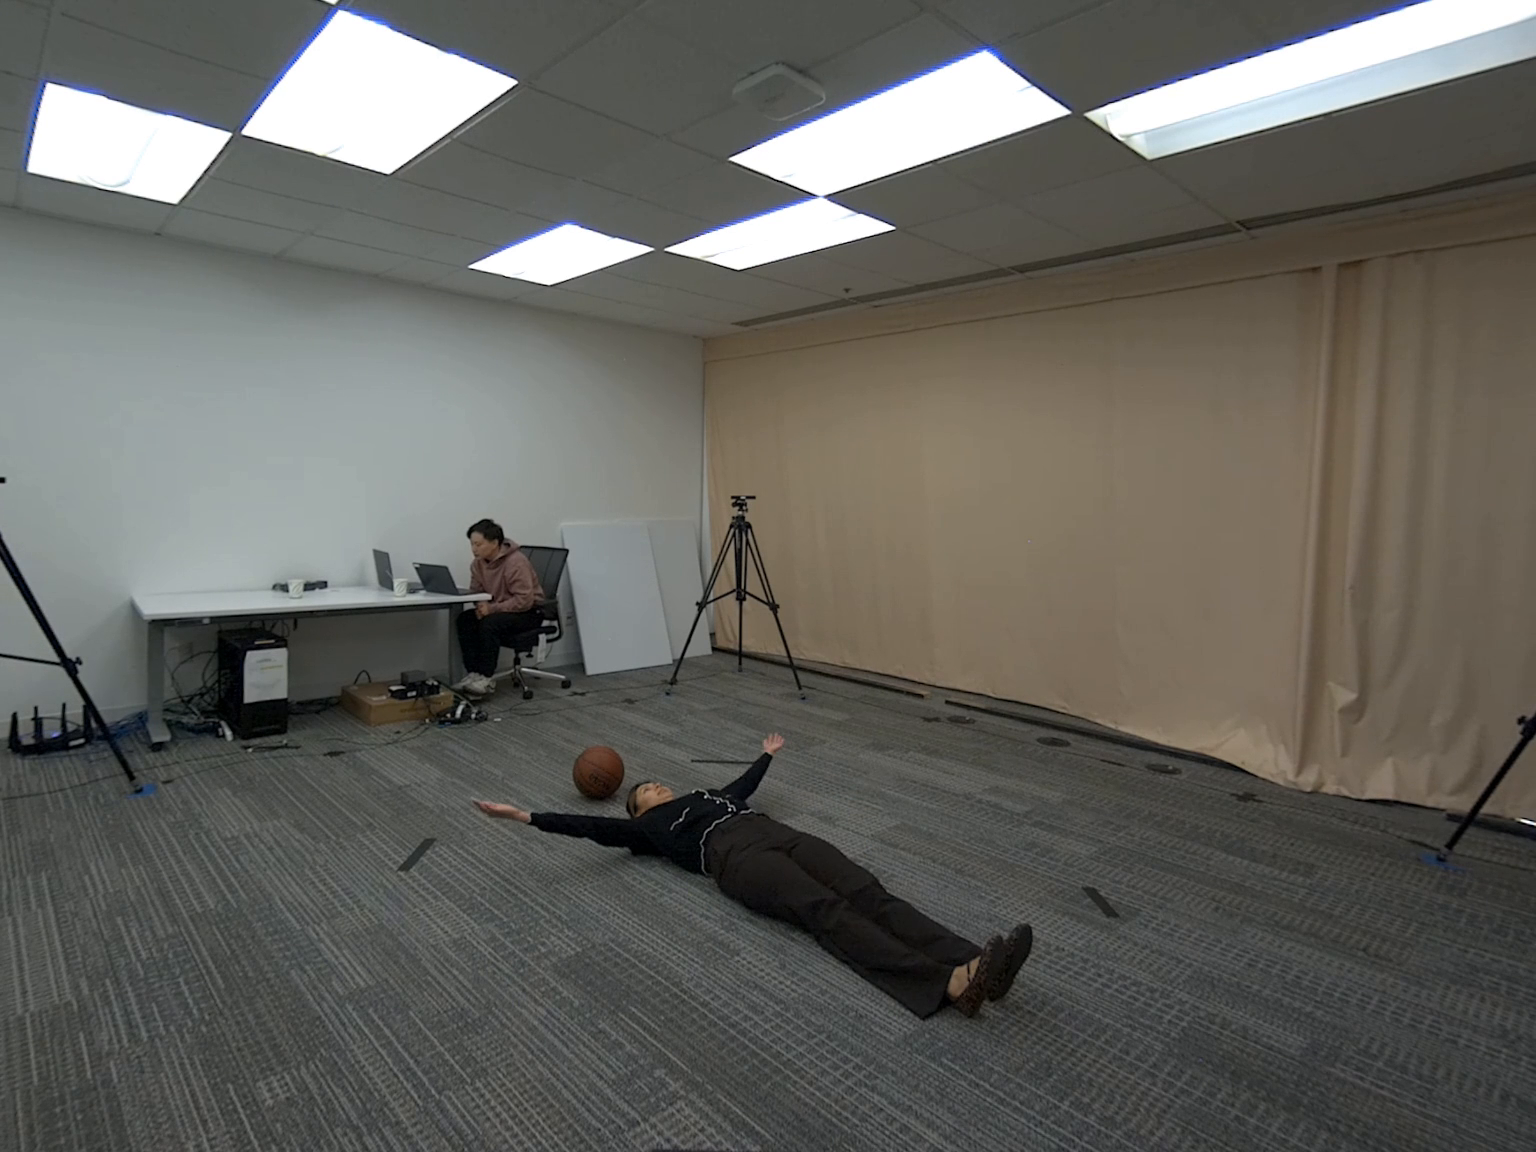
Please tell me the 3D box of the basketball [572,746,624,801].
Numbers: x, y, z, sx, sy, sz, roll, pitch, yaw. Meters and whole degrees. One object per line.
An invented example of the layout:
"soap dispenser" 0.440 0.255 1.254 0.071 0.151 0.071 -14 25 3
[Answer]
"basketball" -0.789 0.900 3.872 0.236 0.235 0.237 1 4 -1
